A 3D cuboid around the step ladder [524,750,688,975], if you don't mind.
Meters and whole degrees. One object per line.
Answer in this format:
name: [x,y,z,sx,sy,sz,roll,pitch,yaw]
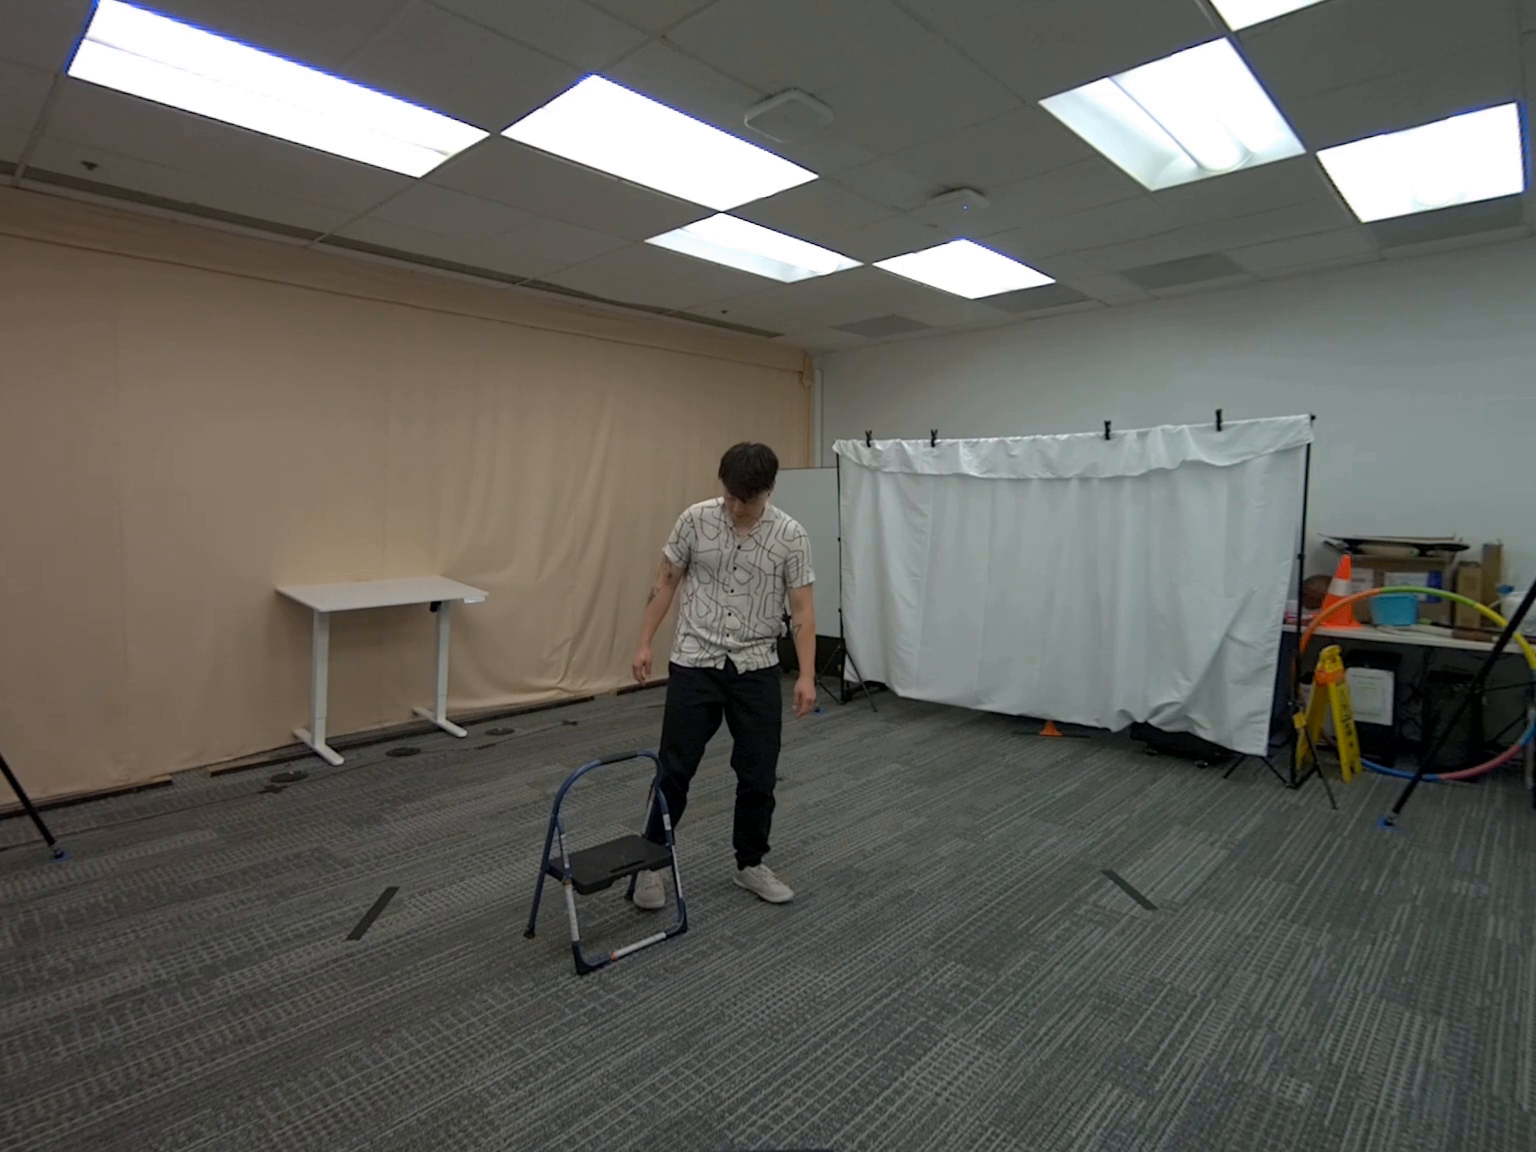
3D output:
step ladder: [-0.530,0.867,2.732,0.417,0.605,0.361,-4,5,-42]
